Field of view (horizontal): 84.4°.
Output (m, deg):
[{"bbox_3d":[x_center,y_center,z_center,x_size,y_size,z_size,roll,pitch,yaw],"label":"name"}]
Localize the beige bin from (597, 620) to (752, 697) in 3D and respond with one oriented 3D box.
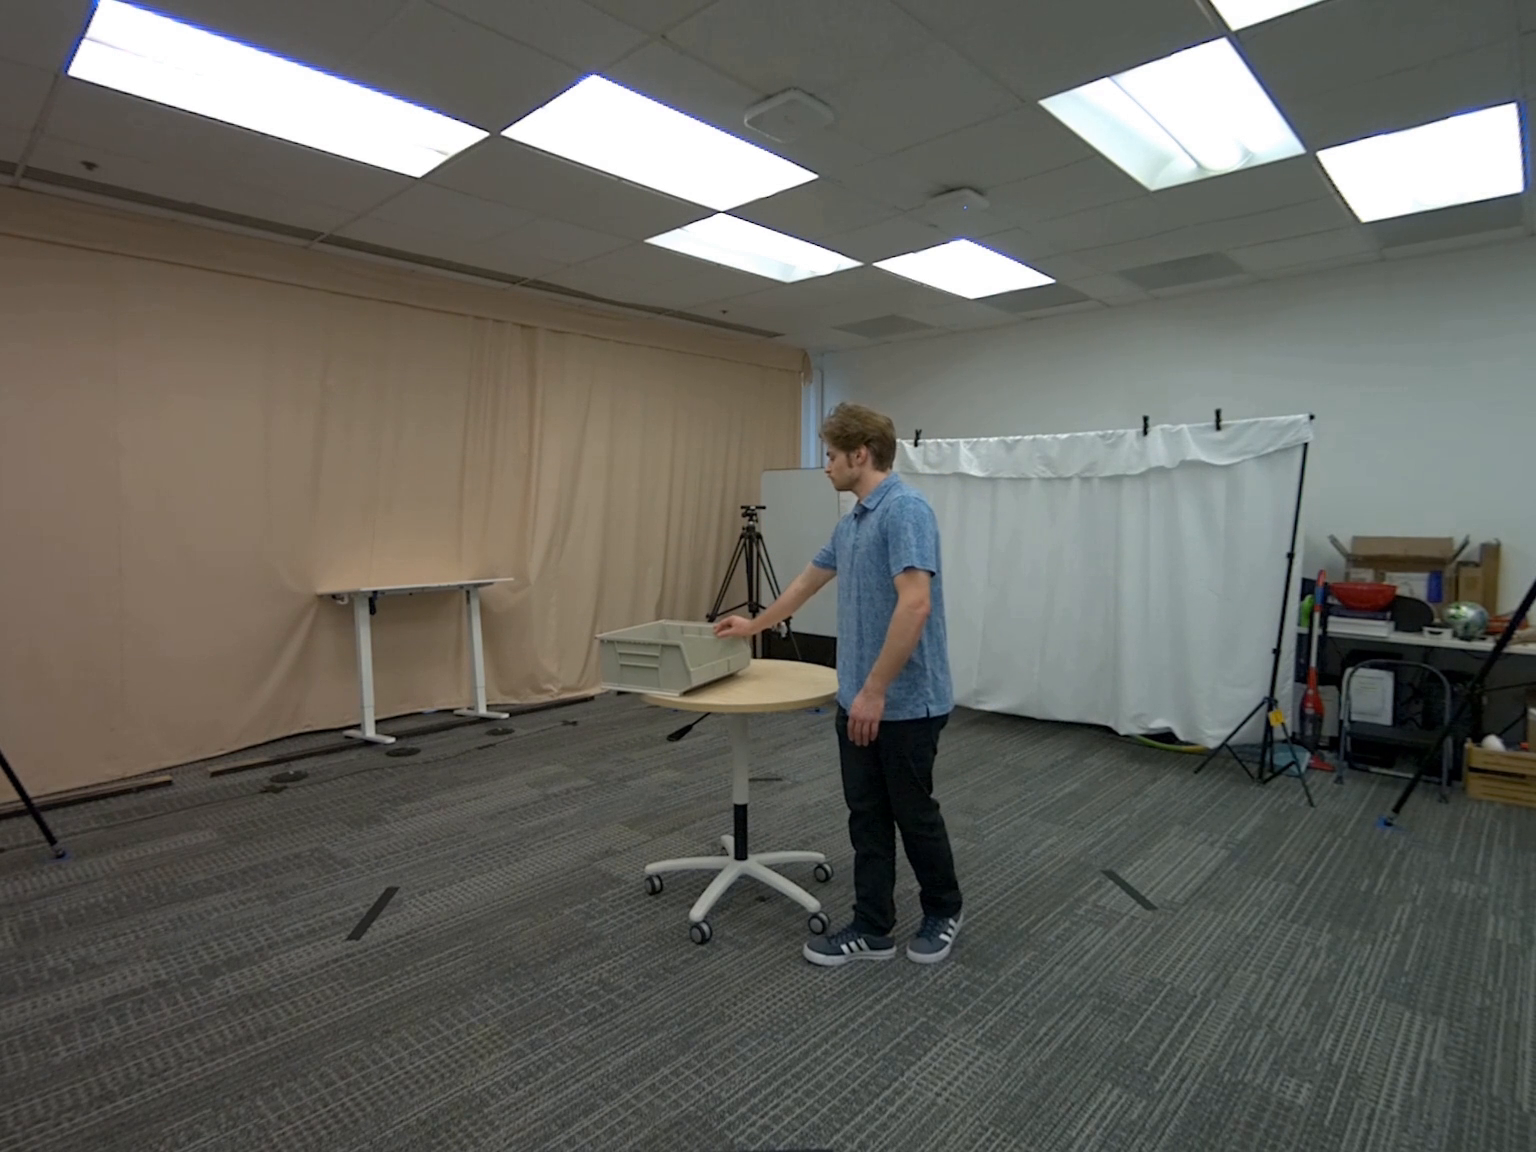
[{"bbox_3d":[-0.318,0.278,2.928,0.388,0.188,0.412,-1,5,28],"label":"beige bin"}]
